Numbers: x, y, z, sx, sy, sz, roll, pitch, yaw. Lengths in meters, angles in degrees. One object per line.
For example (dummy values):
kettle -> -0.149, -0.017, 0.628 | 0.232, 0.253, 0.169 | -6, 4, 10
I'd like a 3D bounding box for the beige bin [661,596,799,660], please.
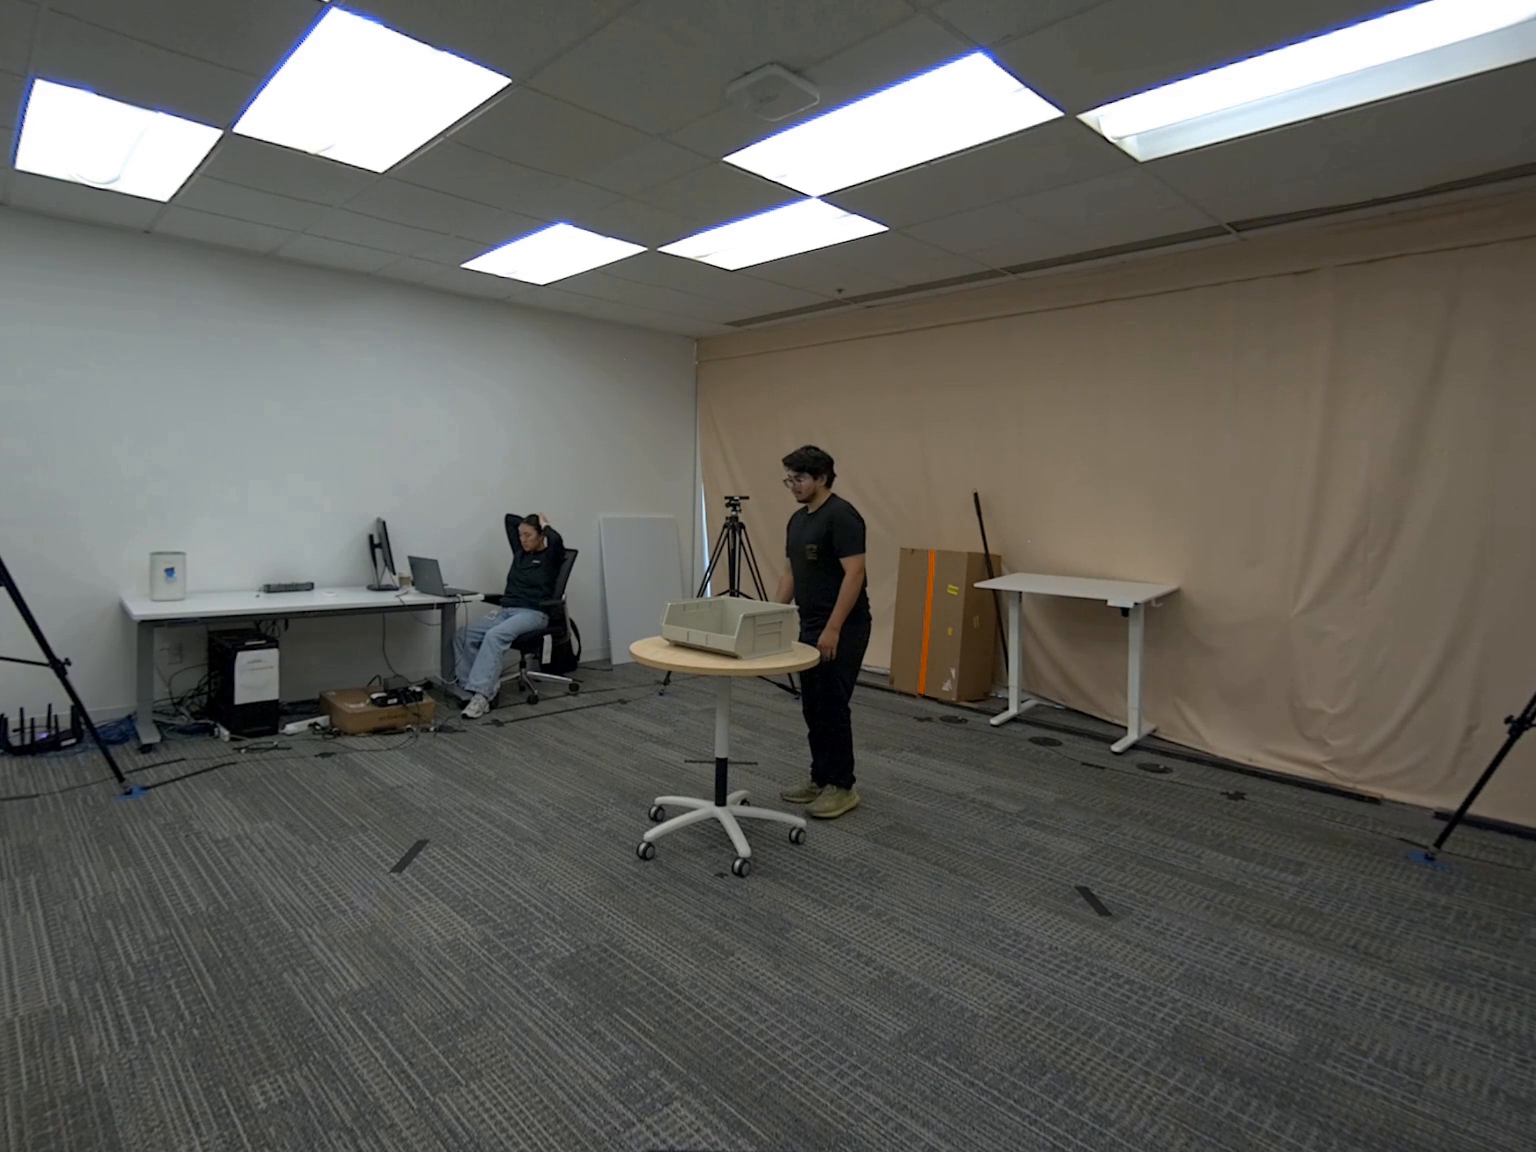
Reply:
beige bin -> -0.169, 0.206, 3.408 | 0.433, 0.188, 0.368 | 6, 5, 40
